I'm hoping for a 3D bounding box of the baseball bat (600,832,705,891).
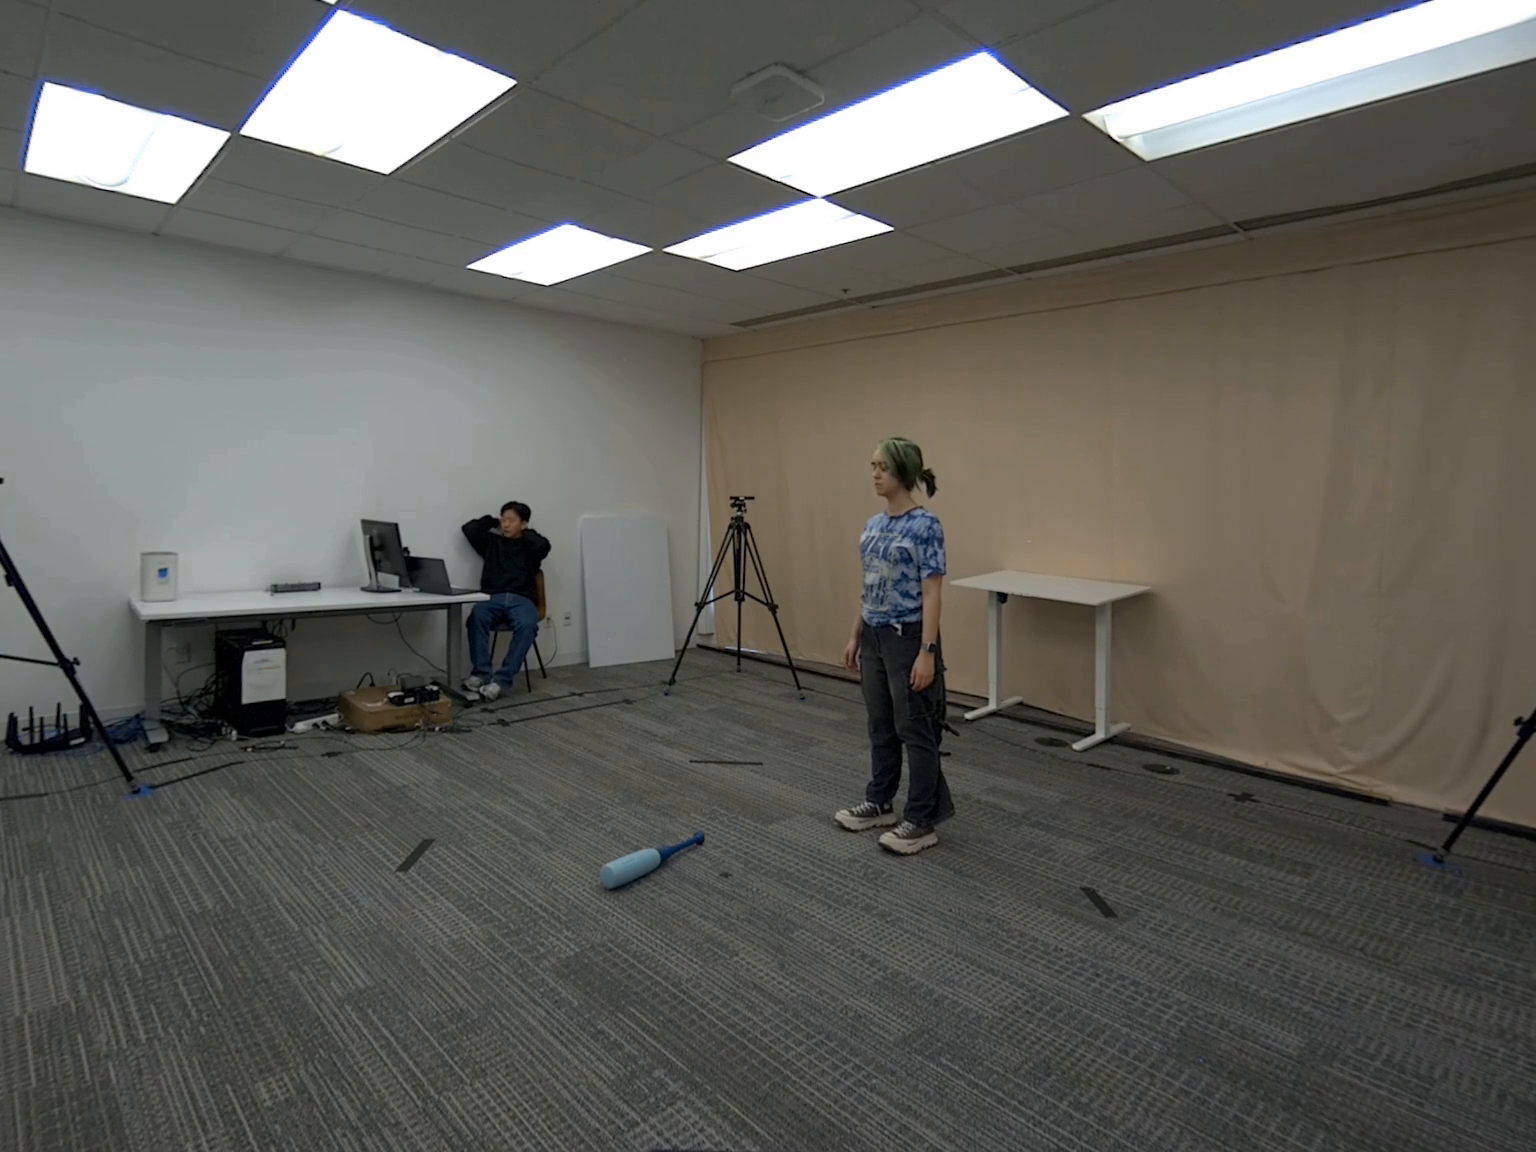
[{"bbox_3d":[-0.425,1.057,3.166,0.091,0.089,0.531,4,3,33],"label":"baseball bat"}]
